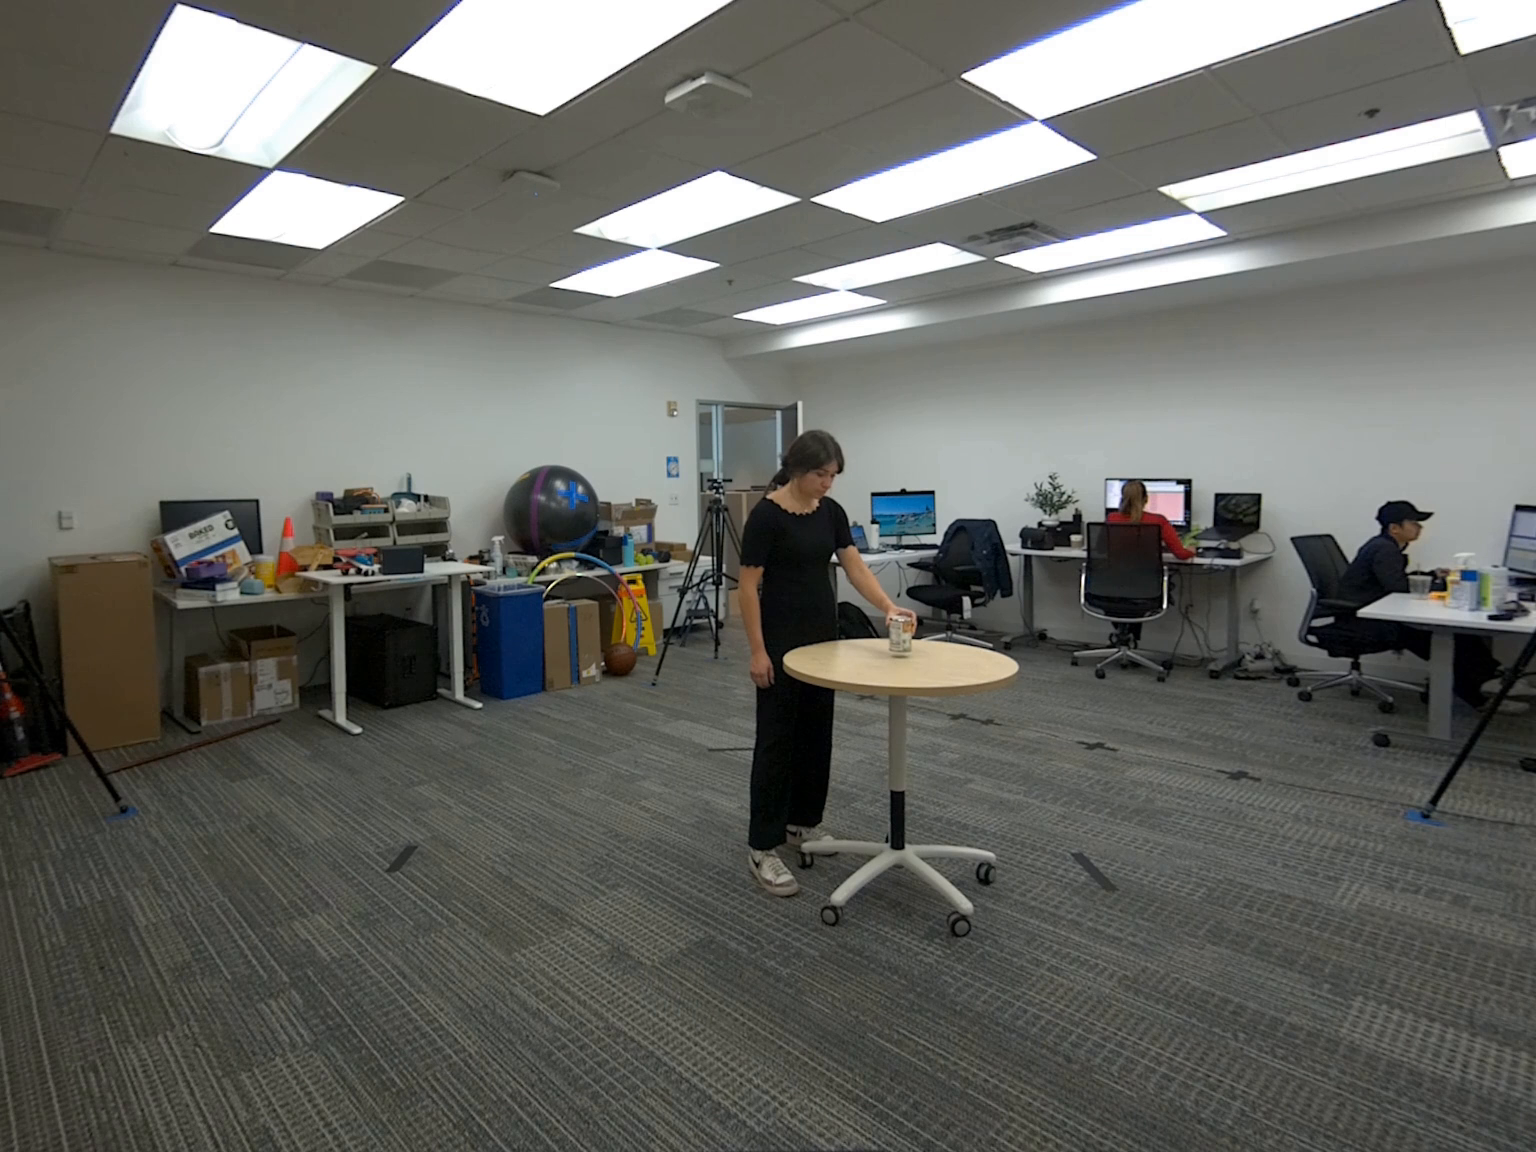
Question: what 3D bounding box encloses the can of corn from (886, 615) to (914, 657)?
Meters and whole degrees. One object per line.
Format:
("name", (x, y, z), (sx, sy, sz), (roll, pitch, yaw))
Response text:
("can of corn", (0.453, 0.197, 2.902), (0.074, 0.110, 0.074), (0, 5, -2))
